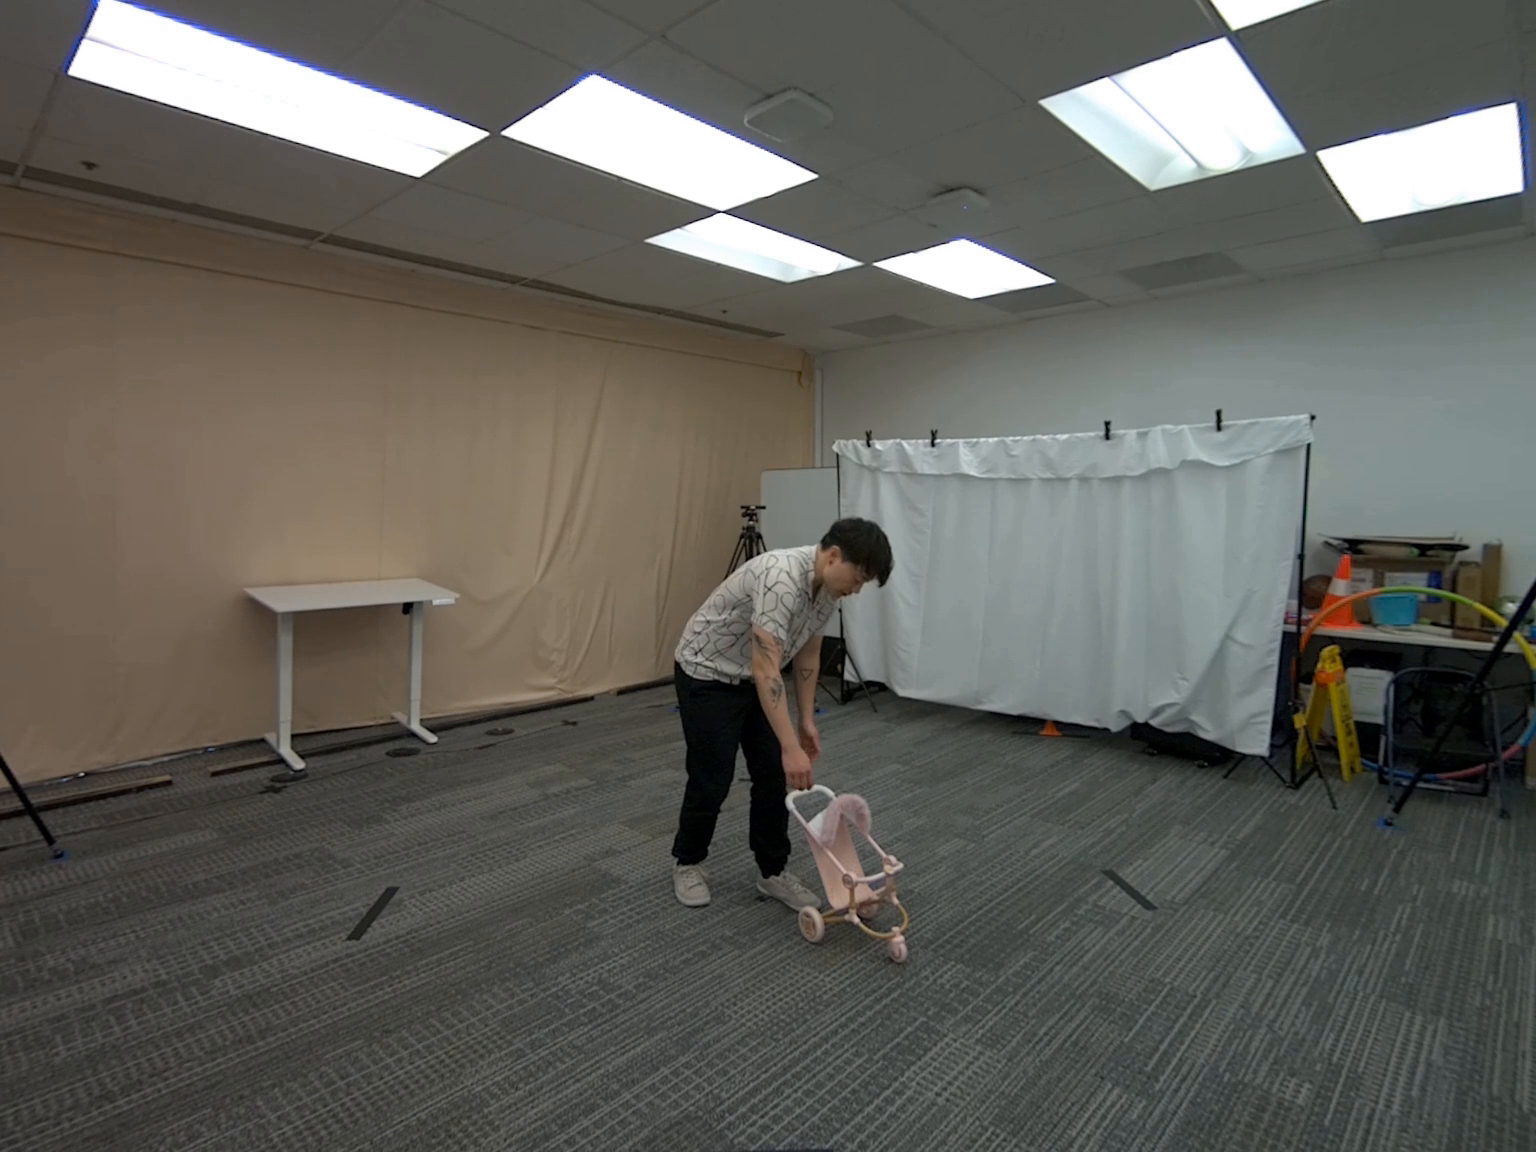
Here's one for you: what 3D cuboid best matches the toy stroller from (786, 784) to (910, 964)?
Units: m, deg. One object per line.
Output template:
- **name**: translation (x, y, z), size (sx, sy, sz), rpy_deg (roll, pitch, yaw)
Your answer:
- **toy stroller**: translation (0.277, 0.942, 2.708), size (0.273, 0.540, 0.348), rpy_deg (-2, -13, -36)
